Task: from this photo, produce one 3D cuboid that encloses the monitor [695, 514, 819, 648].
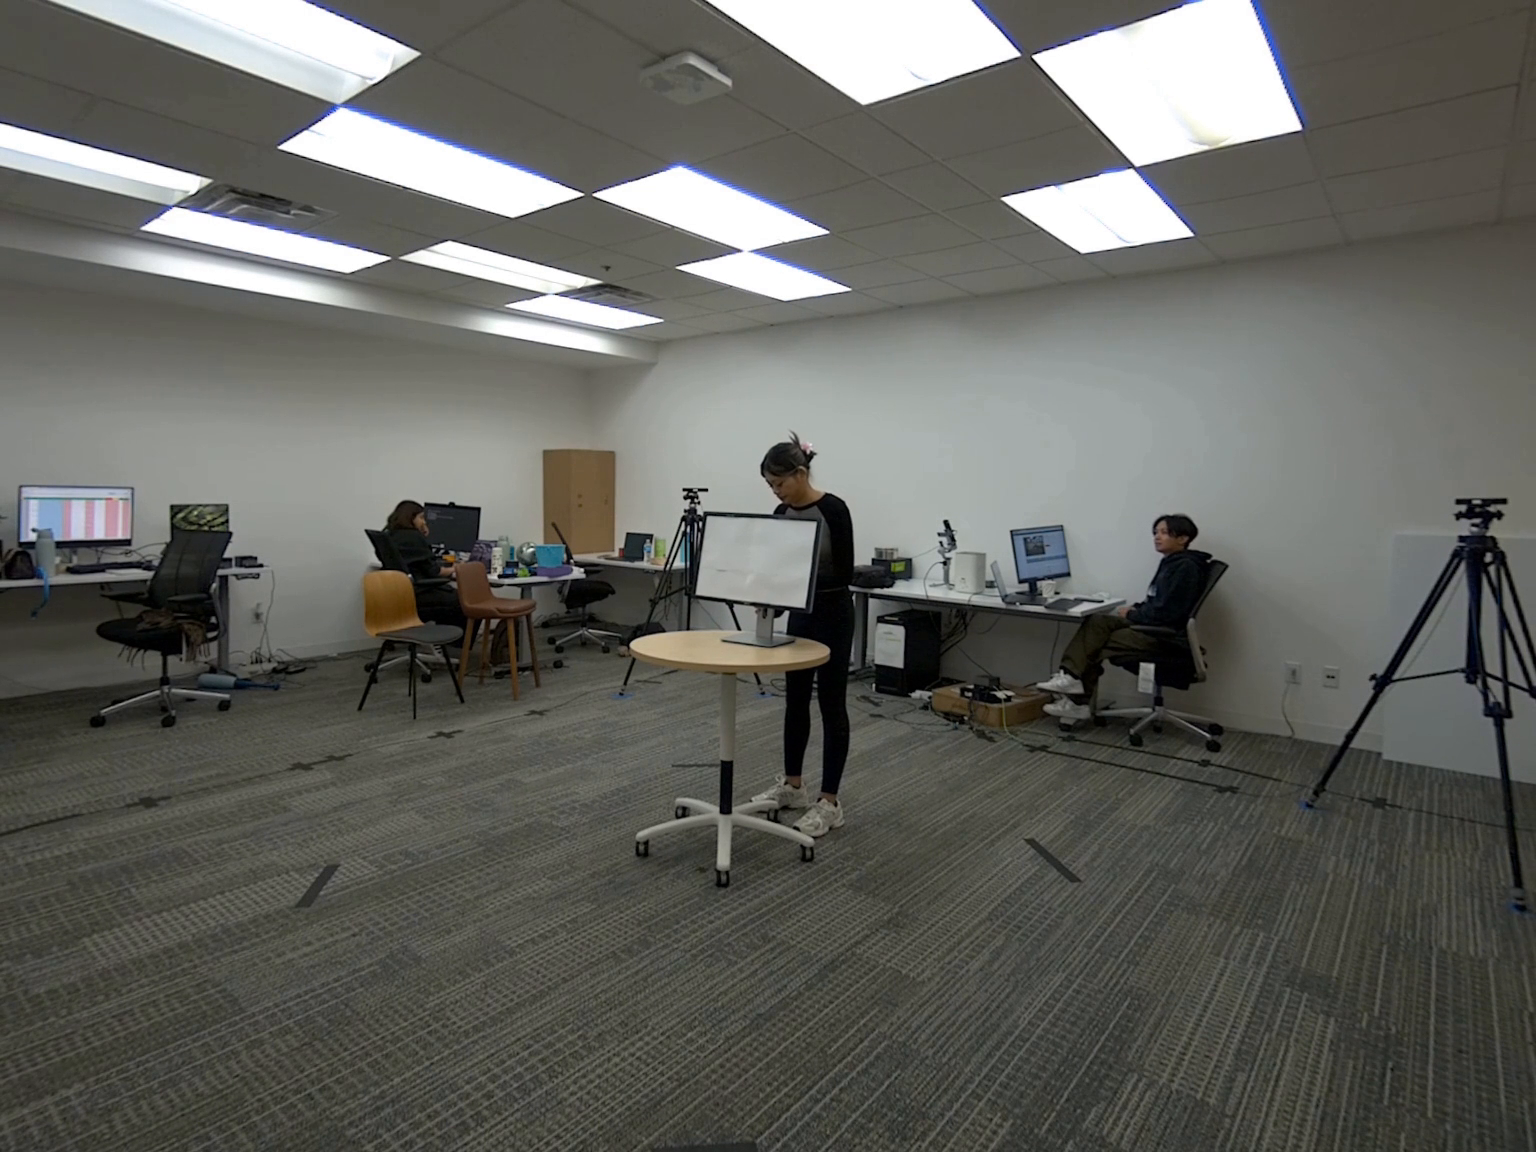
[{"bbox_3d":[-0.046,0.010,3.368,0.547,0.511,0.170,7,12,34],"label":"monitor"}]
